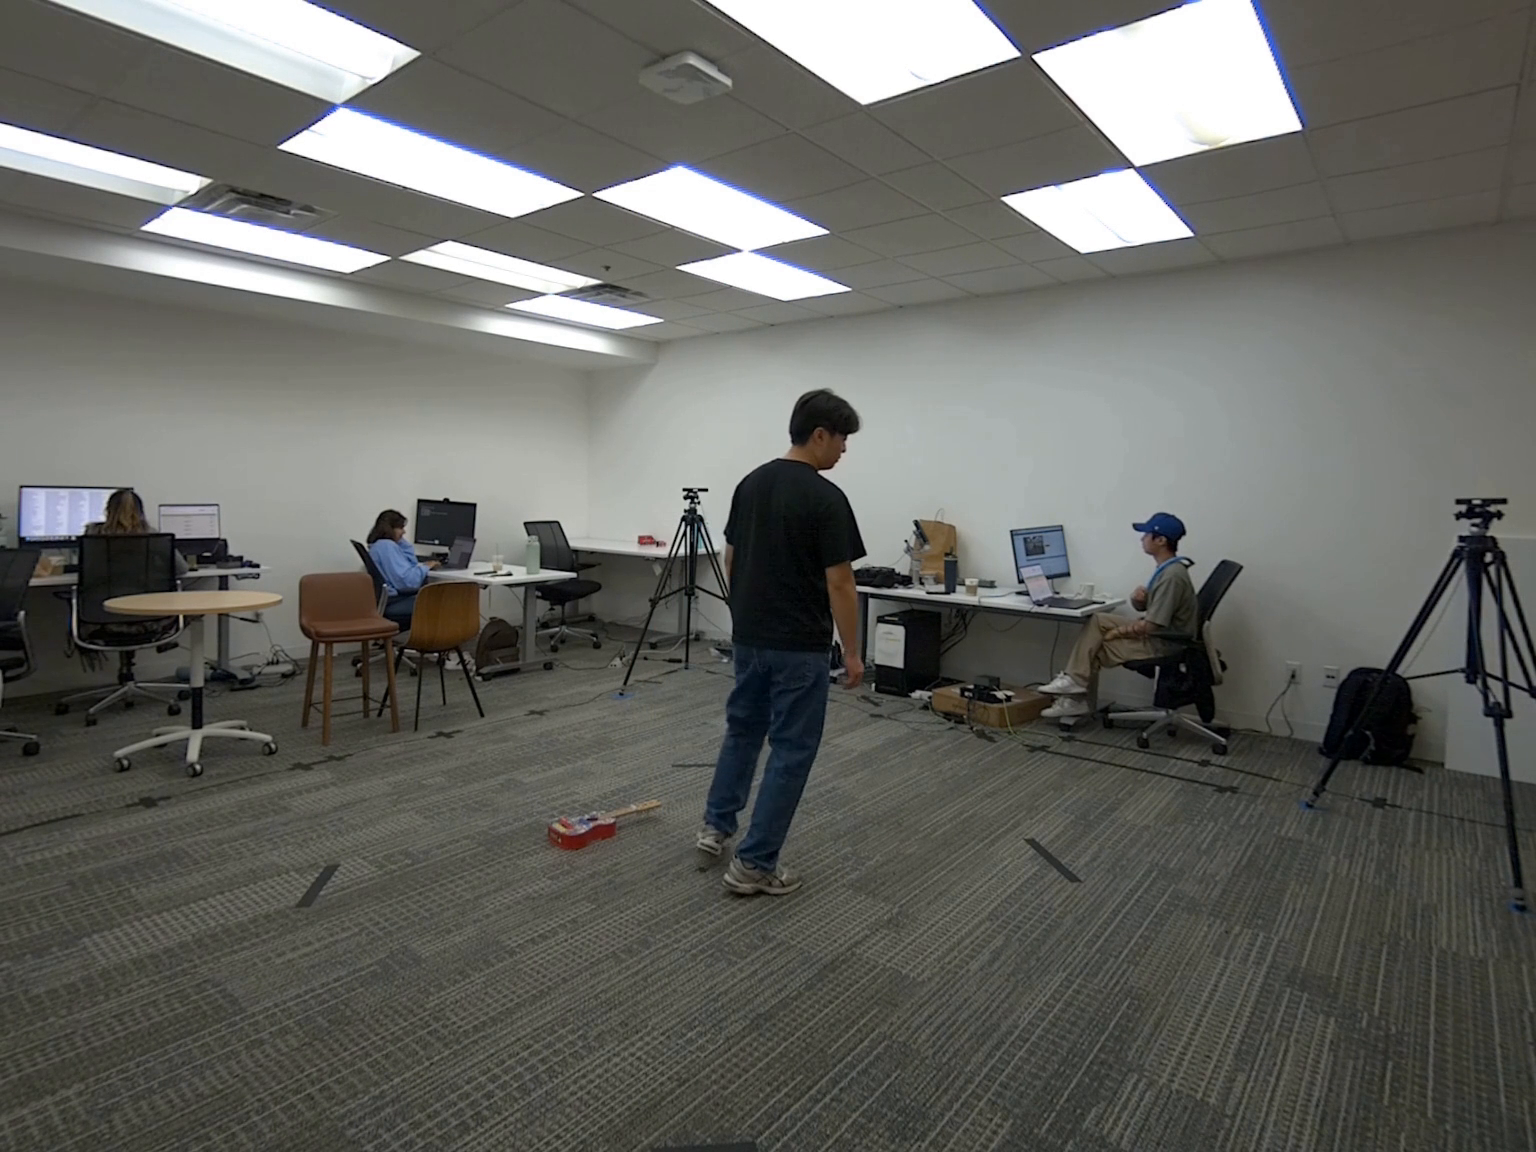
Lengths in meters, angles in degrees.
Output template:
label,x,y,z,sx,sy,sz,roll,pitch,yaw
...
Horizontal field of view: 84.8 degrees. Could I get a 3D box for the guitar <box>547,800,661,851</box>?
label,x,y,z,sx,sy,sz,roll,pitch,yaw
guitar,-0.650,0.999,3.433,0.484,0.070,0.199,-3,6,-31
